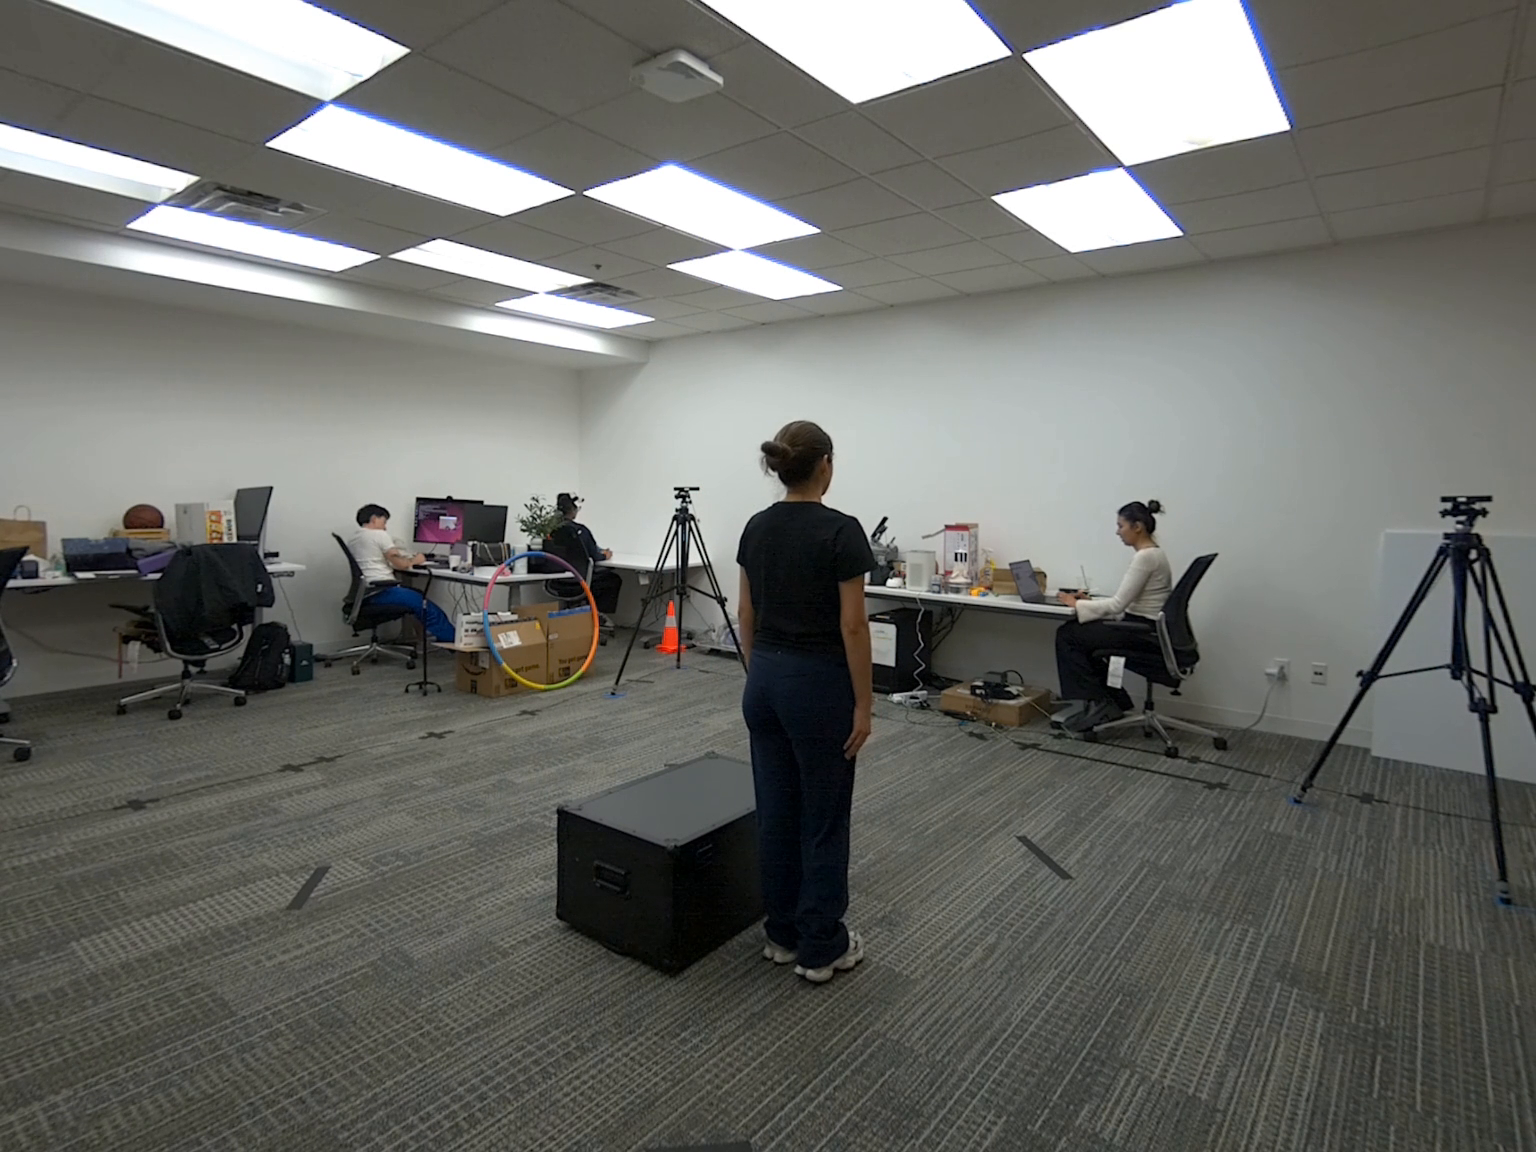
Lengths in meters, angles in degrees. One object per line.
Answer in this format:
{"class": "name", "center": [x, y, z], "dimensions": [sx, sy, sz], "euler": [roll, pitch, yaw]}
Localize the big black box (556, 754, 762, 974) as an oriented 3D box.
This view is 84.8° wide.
{"class": "big black box", "center": [-0.219, 0.900, 2.868], "dimensions": [0.538, 0.394, 0.837], "euler": [5, 7, 36]}
